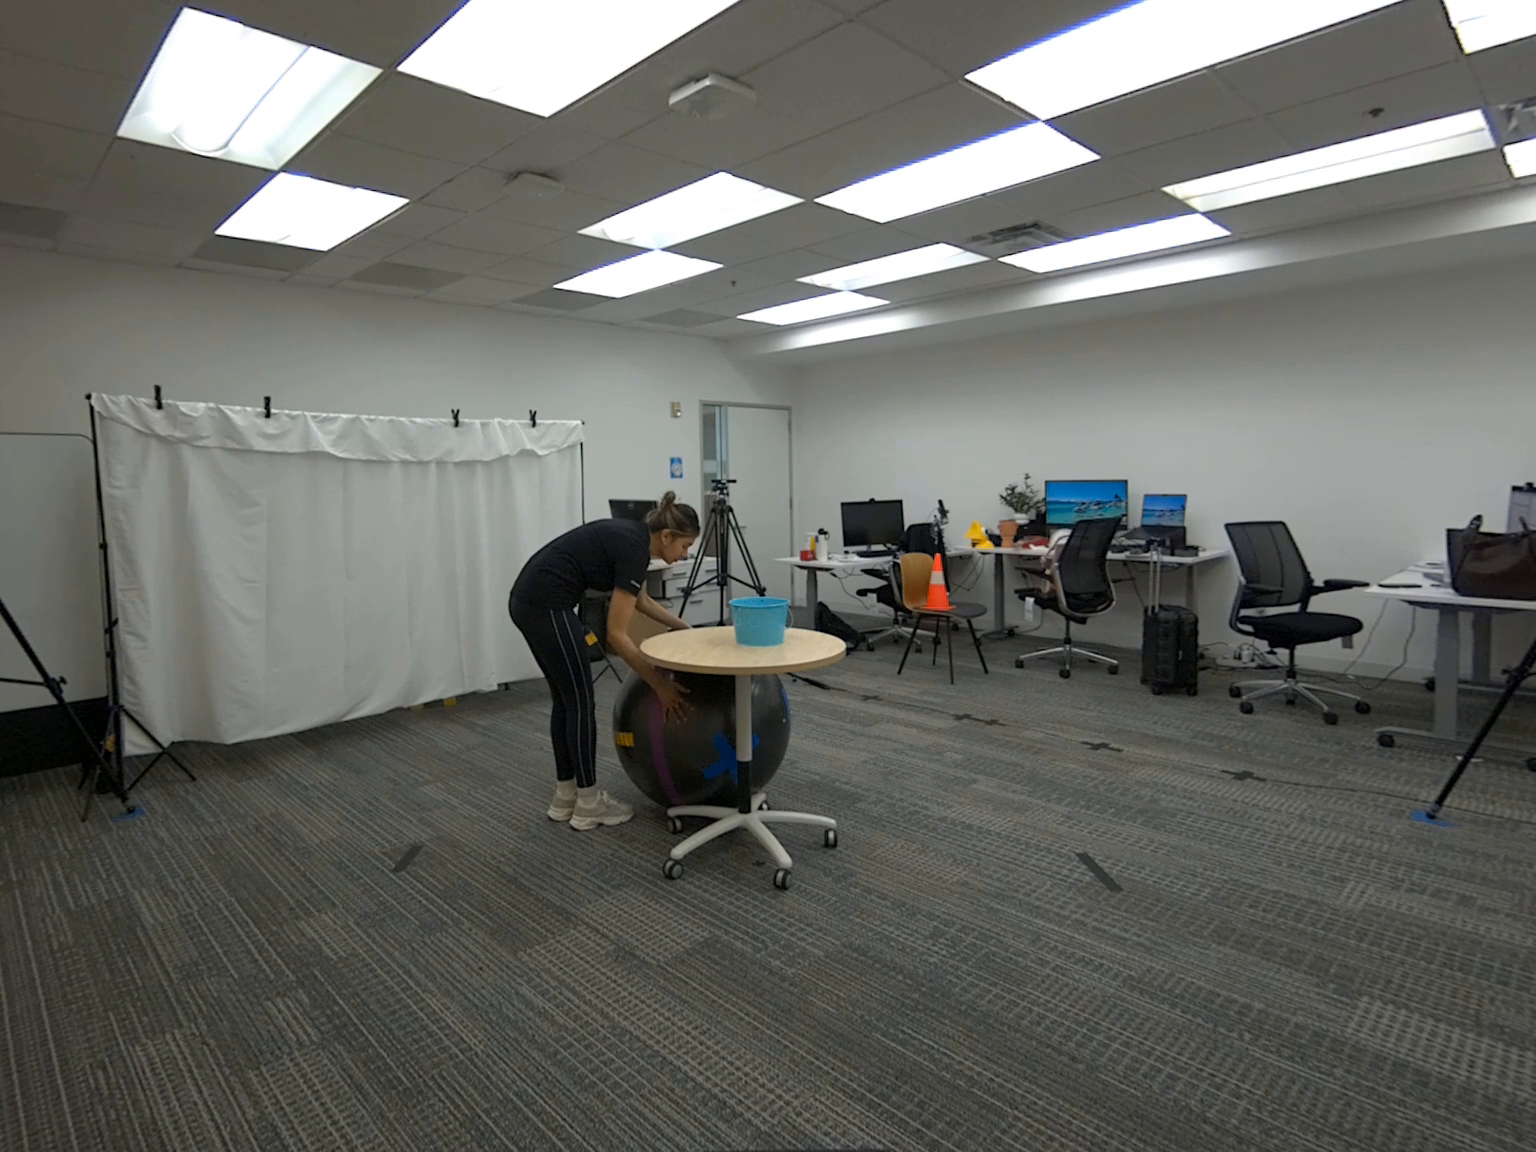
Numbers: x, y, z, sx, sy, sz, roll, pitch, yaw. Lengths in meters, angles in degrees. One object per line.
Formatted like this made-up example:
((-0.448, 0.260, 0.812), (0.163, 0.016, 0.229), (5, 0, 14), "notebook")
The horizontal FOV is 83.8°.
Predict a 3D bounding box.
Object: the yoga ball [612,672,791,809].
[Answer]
((-0.290, 0.631, 3.659), (0.757, 0.755, 0.762), (-1, 5, -2), "yoga ball")
